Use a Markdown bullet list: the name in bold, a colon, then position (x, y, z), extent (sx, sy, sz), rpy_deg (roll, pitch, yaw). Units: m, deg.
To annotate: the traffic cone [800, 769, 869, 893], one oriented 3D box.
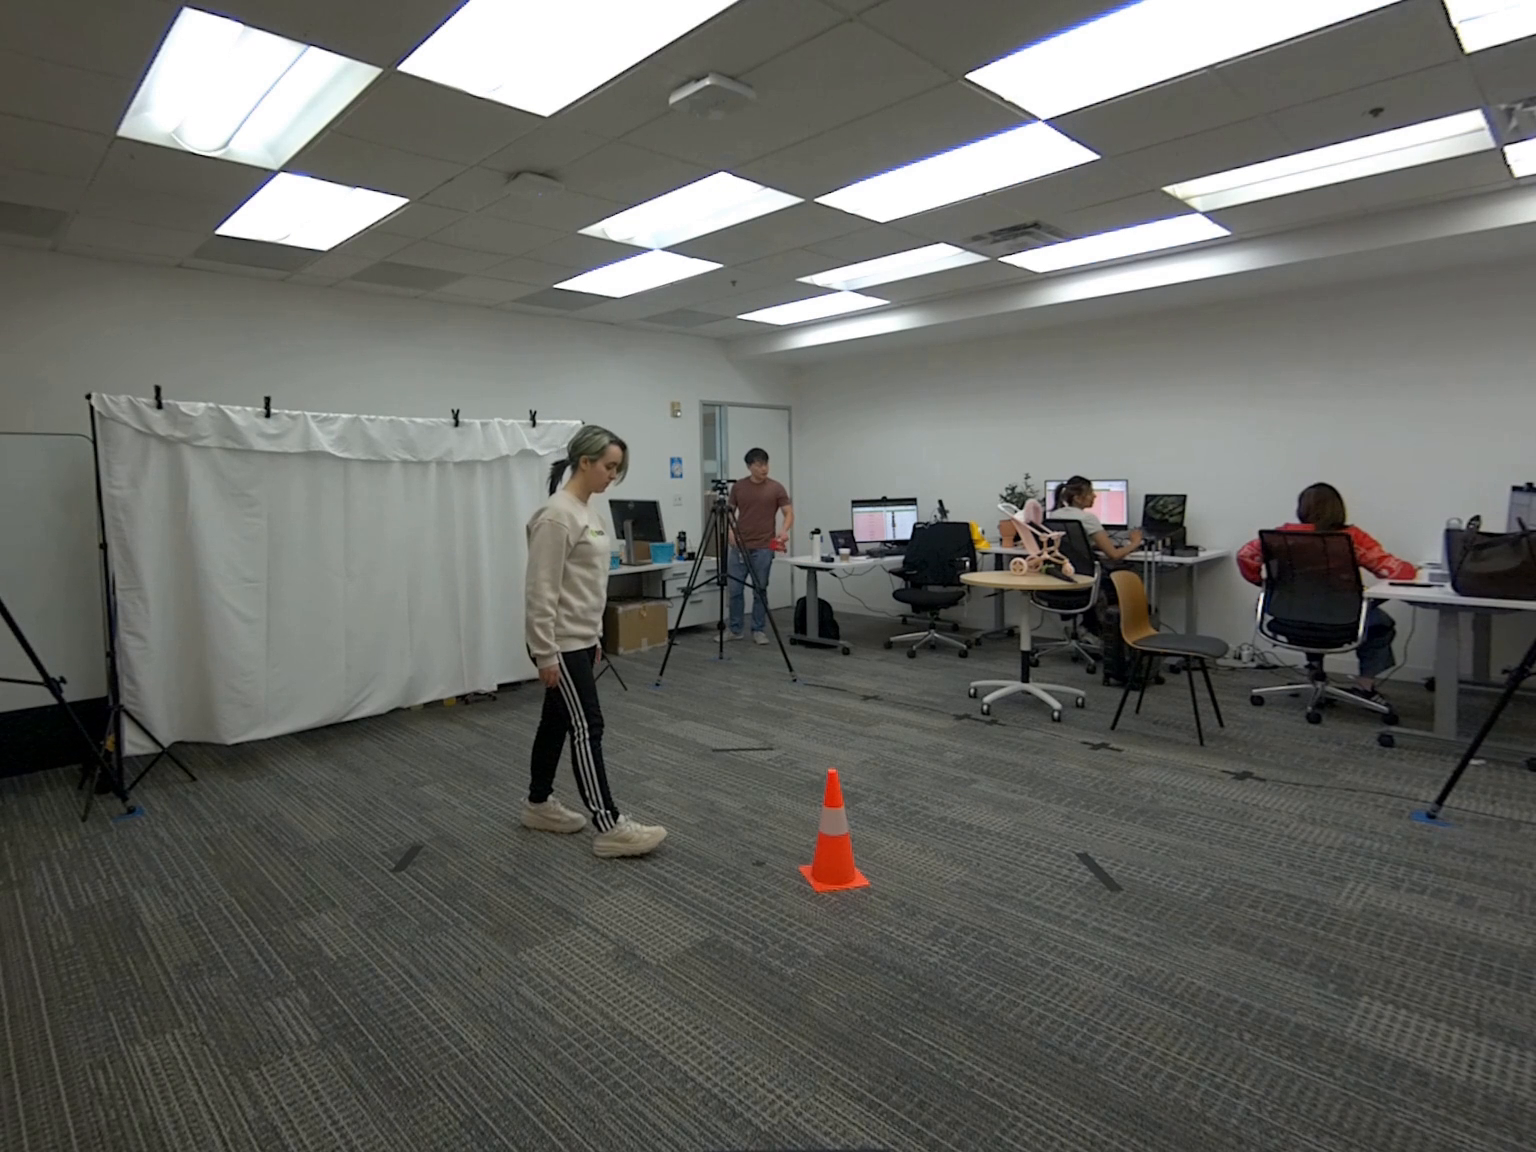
- **traffic cone**: position (0.237, 0.870, 2.986), extent (0.202, 0.382, 0.207), rpy_deg (-1, 6, -15)
